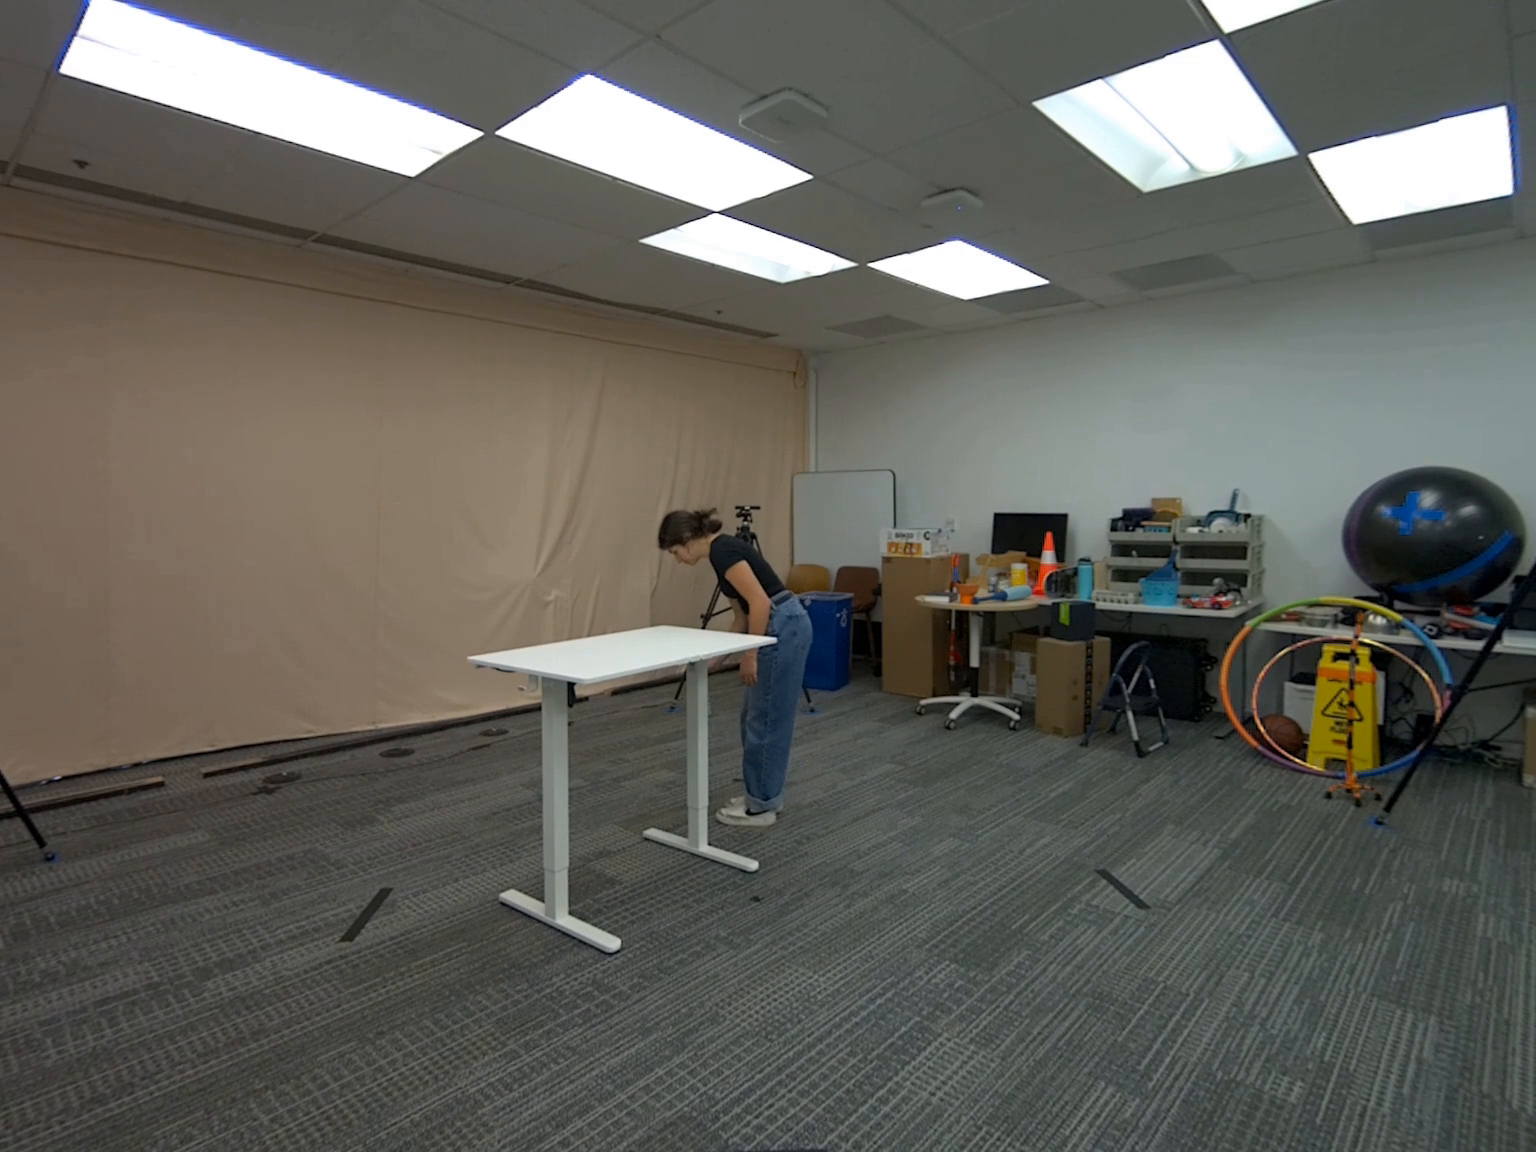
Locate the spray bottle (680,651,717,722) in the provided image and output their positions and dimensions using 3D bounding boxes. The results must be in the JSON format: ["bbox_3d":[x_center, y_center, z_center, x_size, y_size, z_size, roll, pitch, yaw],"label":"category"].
[{"bbox_3d":[-0.318,0.497,3.852,0.093,0.296,0.085,-6,4,38],"label":"spray bottle"}]
